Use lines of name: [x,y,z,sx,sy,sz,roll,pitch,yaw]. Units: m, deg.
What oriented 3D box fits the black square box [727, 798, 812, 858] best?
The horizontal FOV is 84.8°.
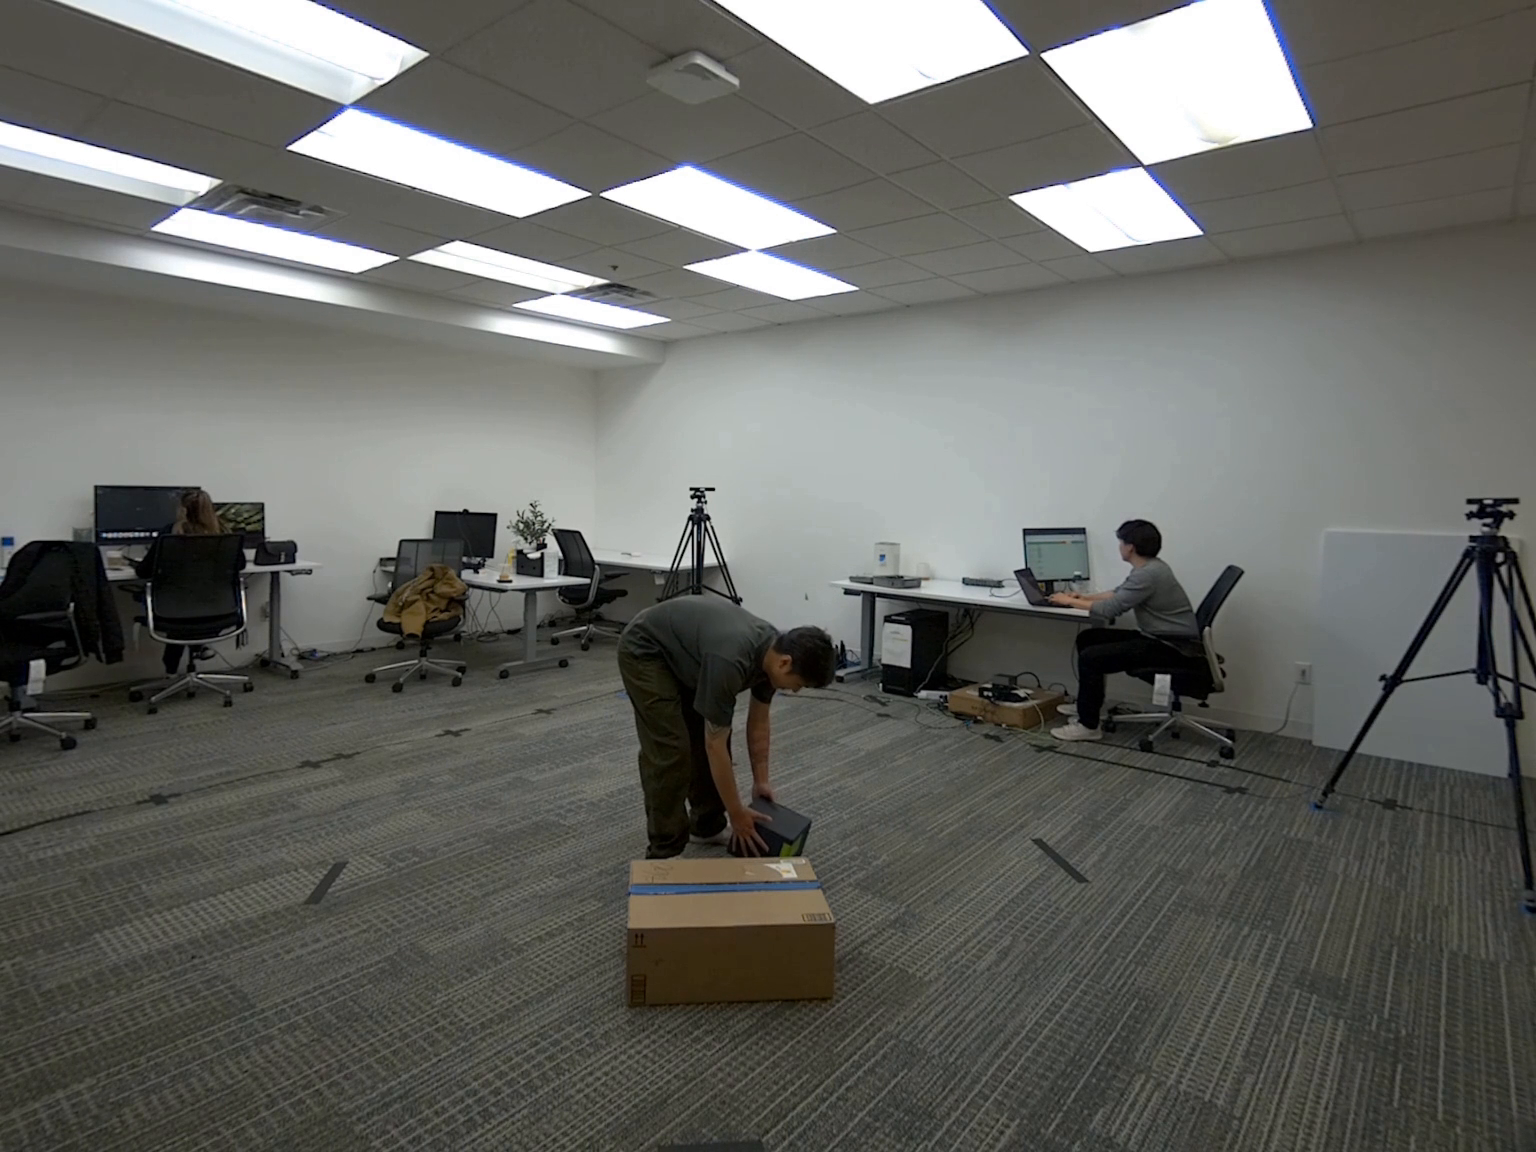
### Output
black square box: [0.002,0.936,3.047,0.222,0.155,0.223,19,7,19]
